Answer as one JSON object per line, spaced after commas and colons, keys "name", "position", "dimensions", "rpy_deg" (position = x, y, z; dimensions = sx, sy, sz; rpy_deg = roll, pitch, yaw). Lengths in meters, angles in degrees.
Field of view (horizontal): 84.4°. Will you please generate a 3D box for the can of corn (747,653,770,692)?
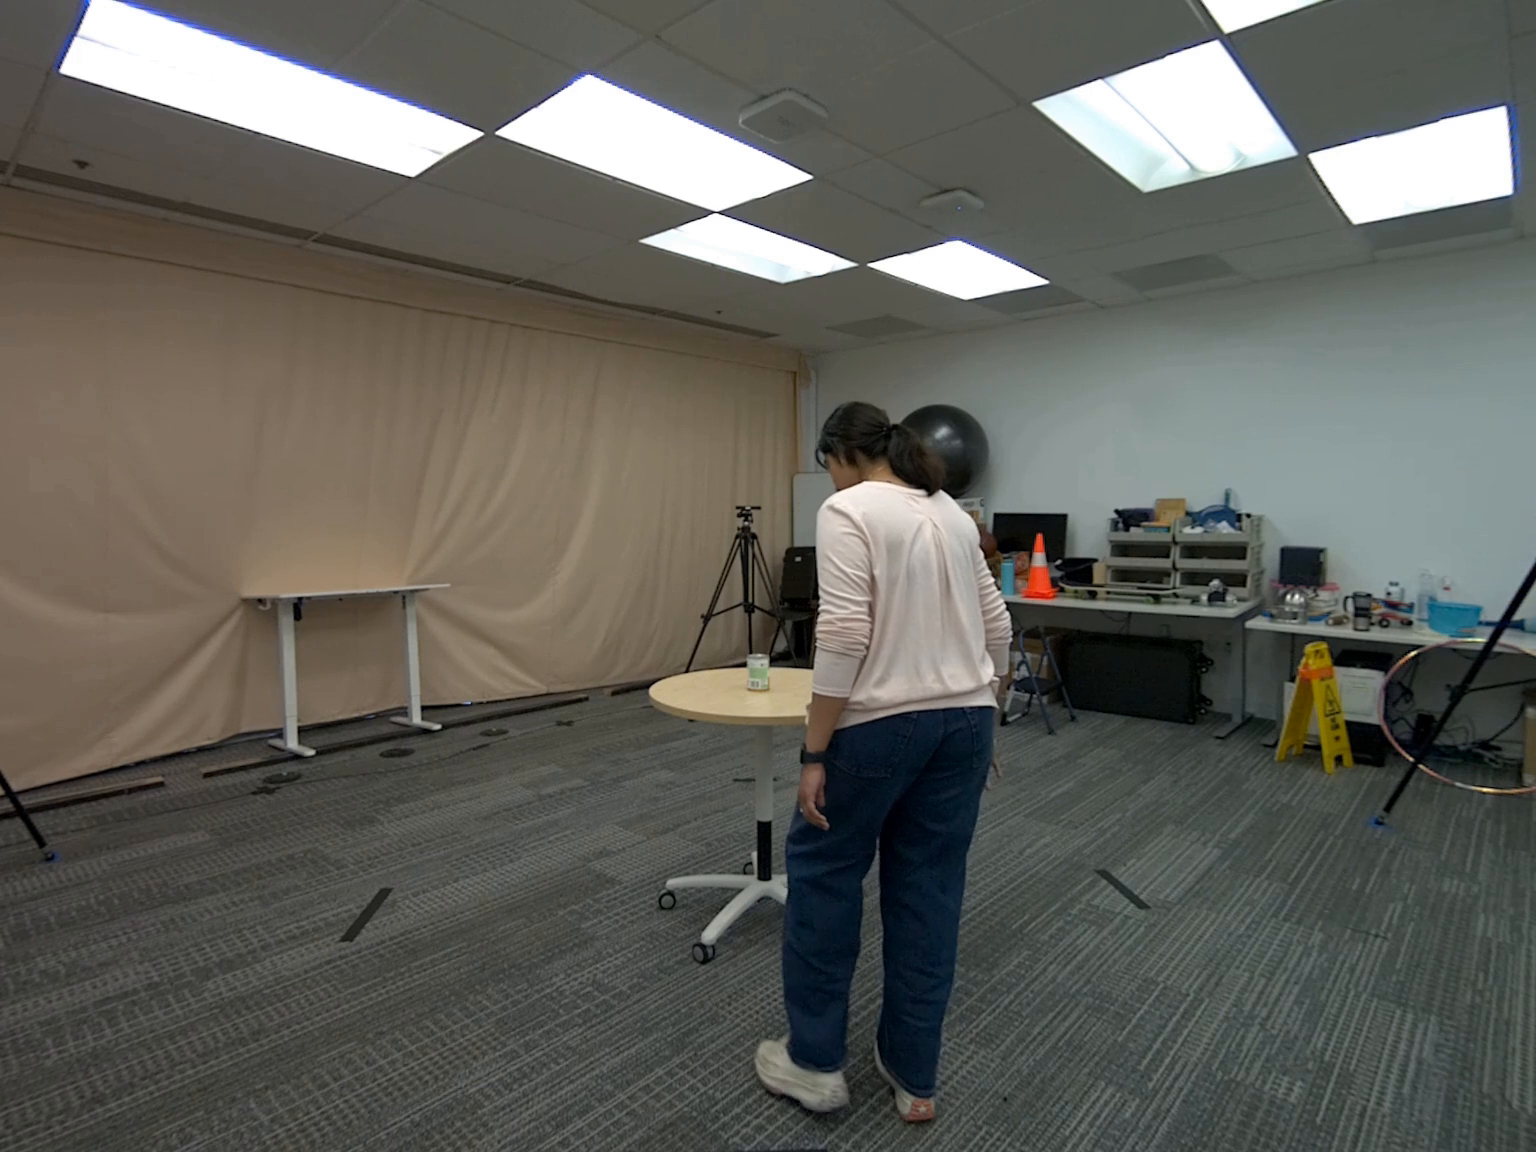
{"name": "can of corn", "position": [-0.028, 0.322, 2.785], "dimensions": [0.074, 0.111, 0.074], "rpy_deg": [1, 3, -2]}
